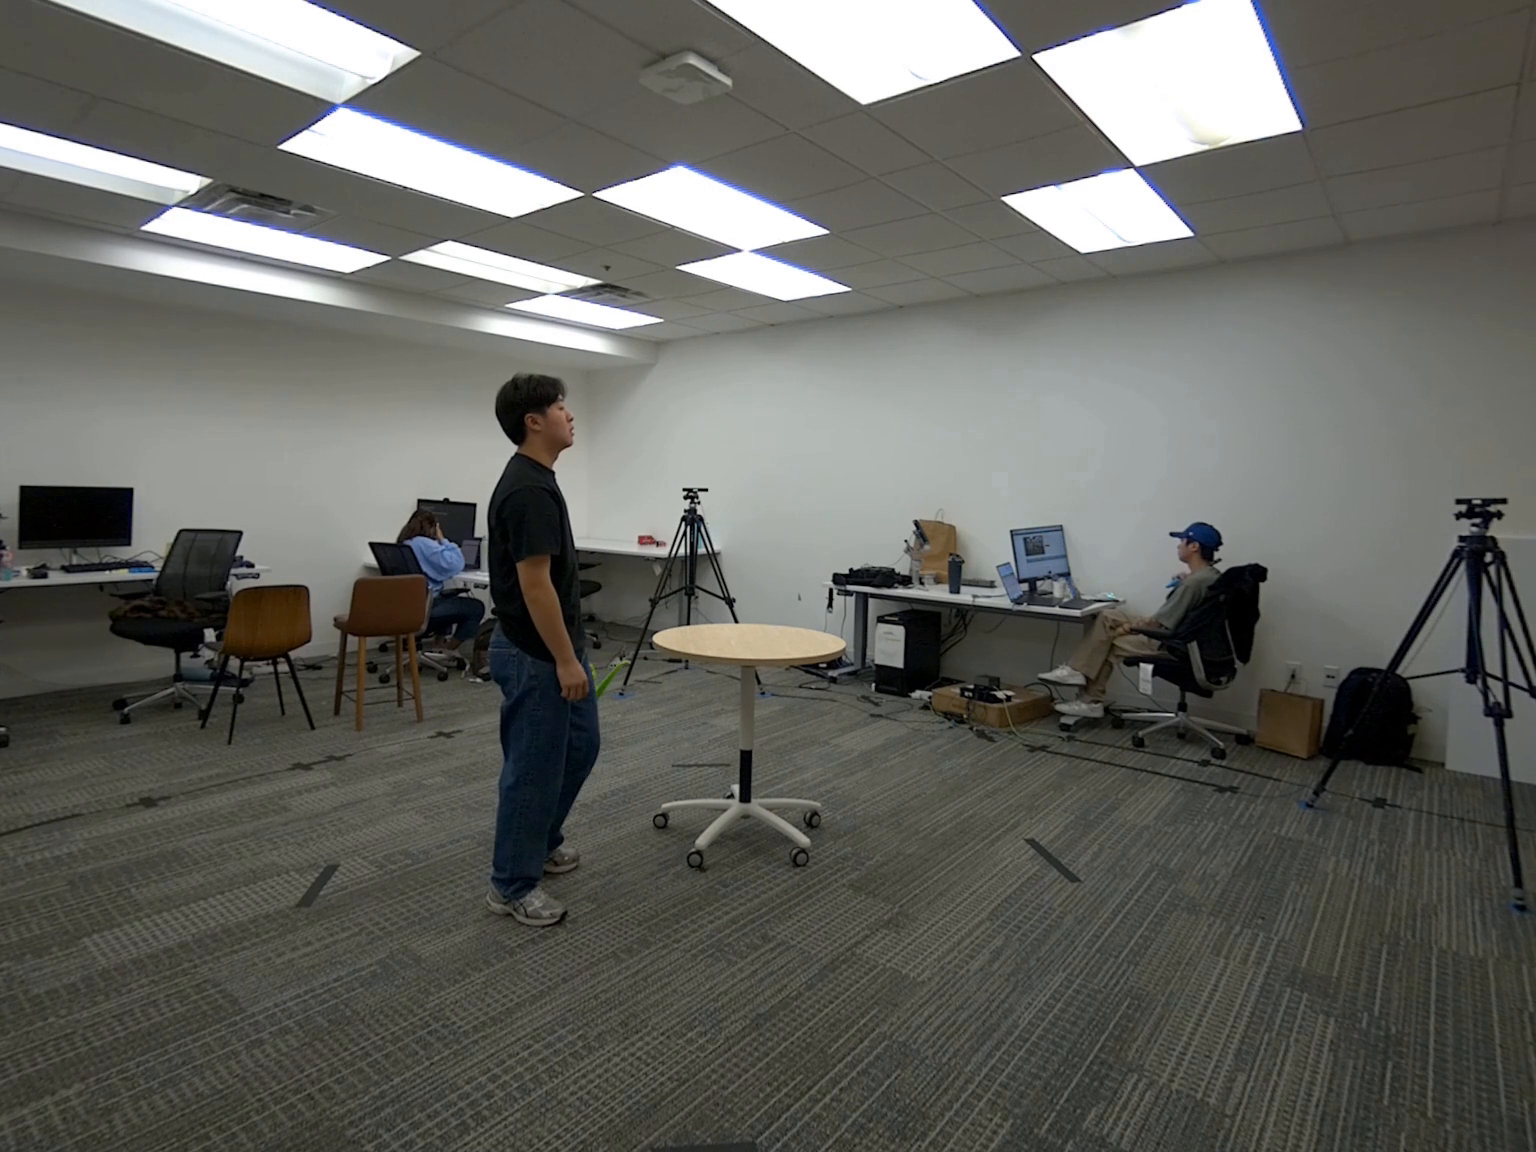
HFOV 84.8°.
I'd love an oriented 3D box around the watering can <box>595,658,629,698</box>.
[{"bbox_3d":[-0.643,0.385,3.036,0.280,0.175,0.098,2,10,6],"label":"watering can"}]
